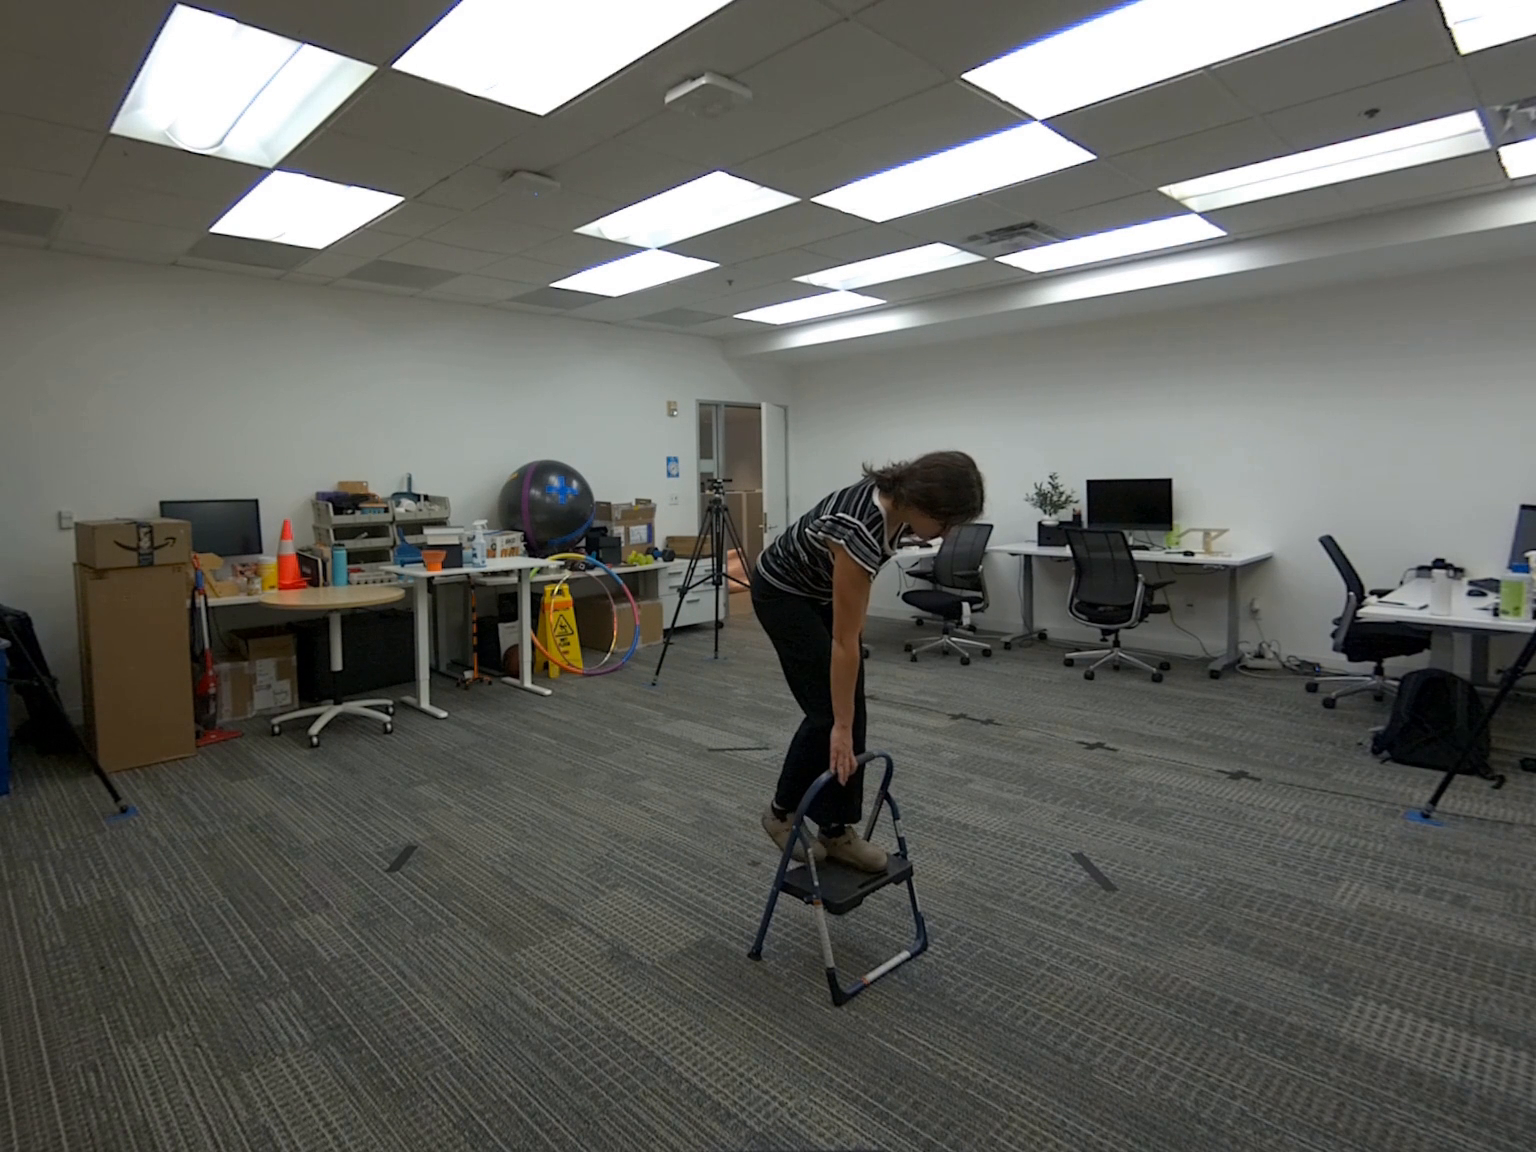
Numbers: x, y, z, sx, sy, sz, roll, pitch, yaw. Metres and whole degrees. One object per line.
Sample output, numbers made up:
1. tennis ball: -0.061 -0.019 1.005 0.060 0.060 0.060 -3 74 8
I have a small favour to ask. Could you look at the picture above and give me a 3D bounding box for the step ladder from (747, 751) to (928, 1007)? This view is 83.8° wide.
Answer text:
1. step ladder: 0.209 0.811 2.495 0.419 0.603 0.360 -6 7 -44
